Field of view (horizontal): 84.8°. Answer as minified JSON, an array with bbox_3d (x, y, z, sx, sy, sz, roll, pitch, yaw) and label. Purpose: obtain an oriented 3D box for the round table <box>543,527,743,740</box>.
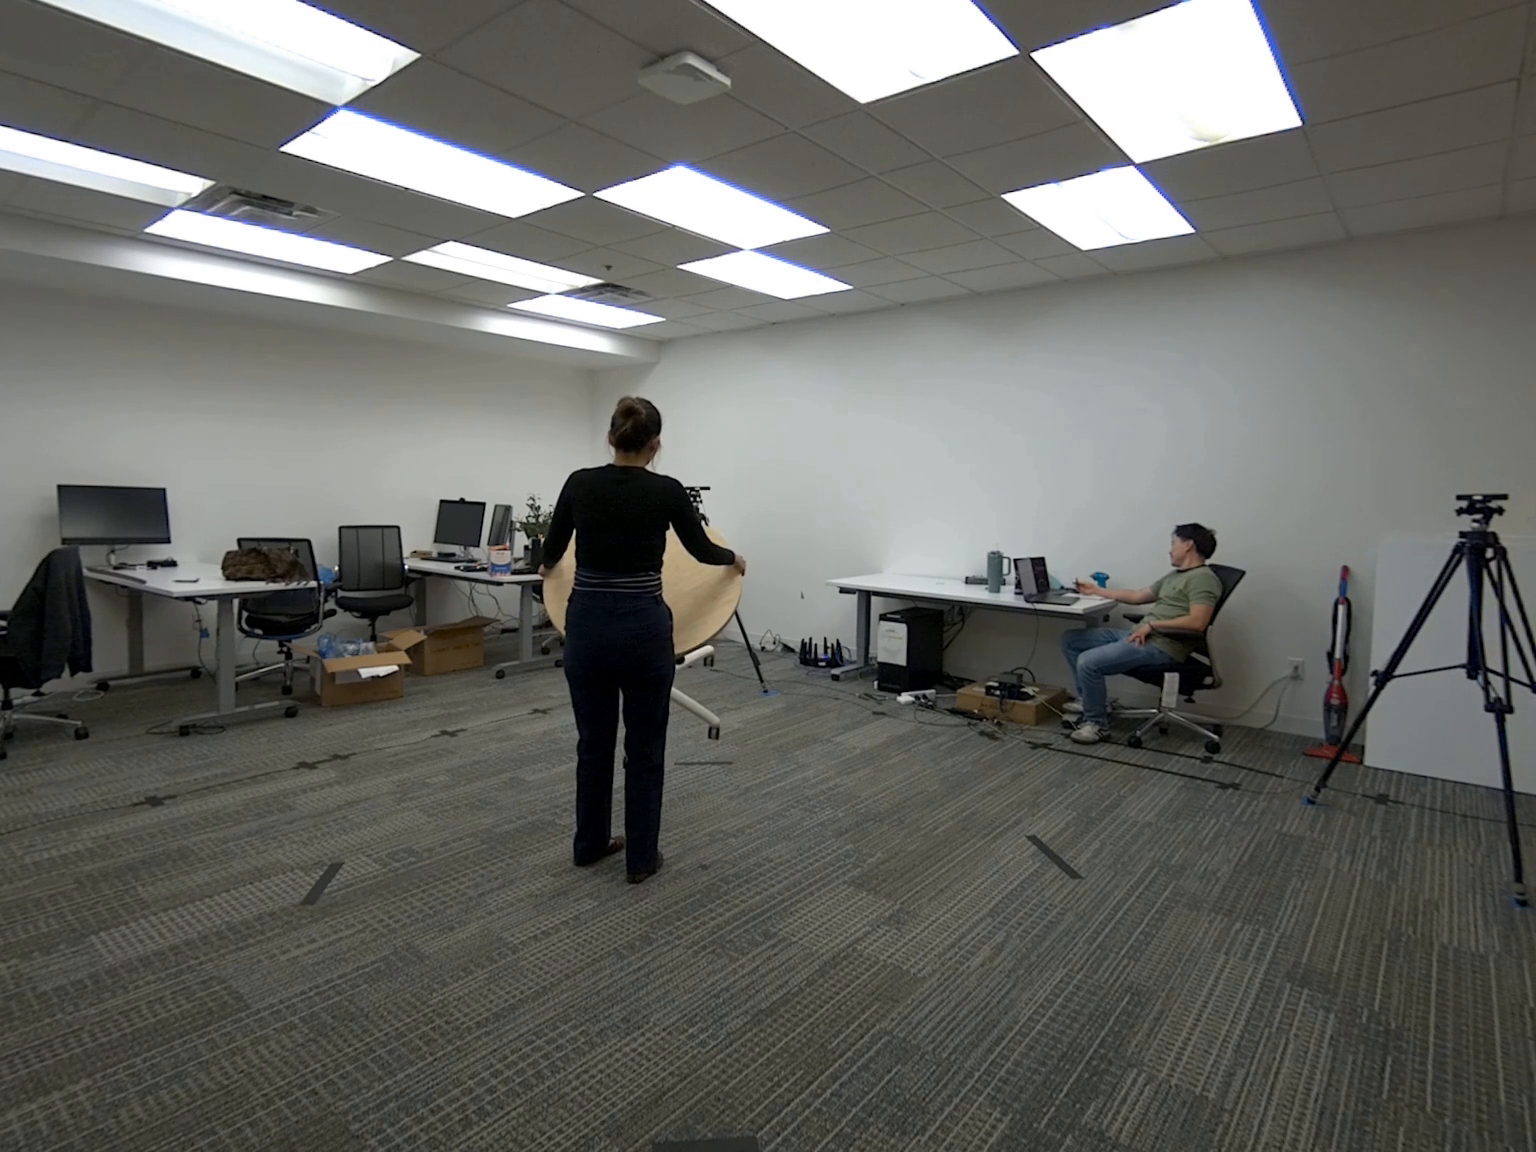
[{"bbox_3d":[-0.514,0.283,3.564,0.763,0.772,0.787,0,45,-2],"label":"round table"}]
